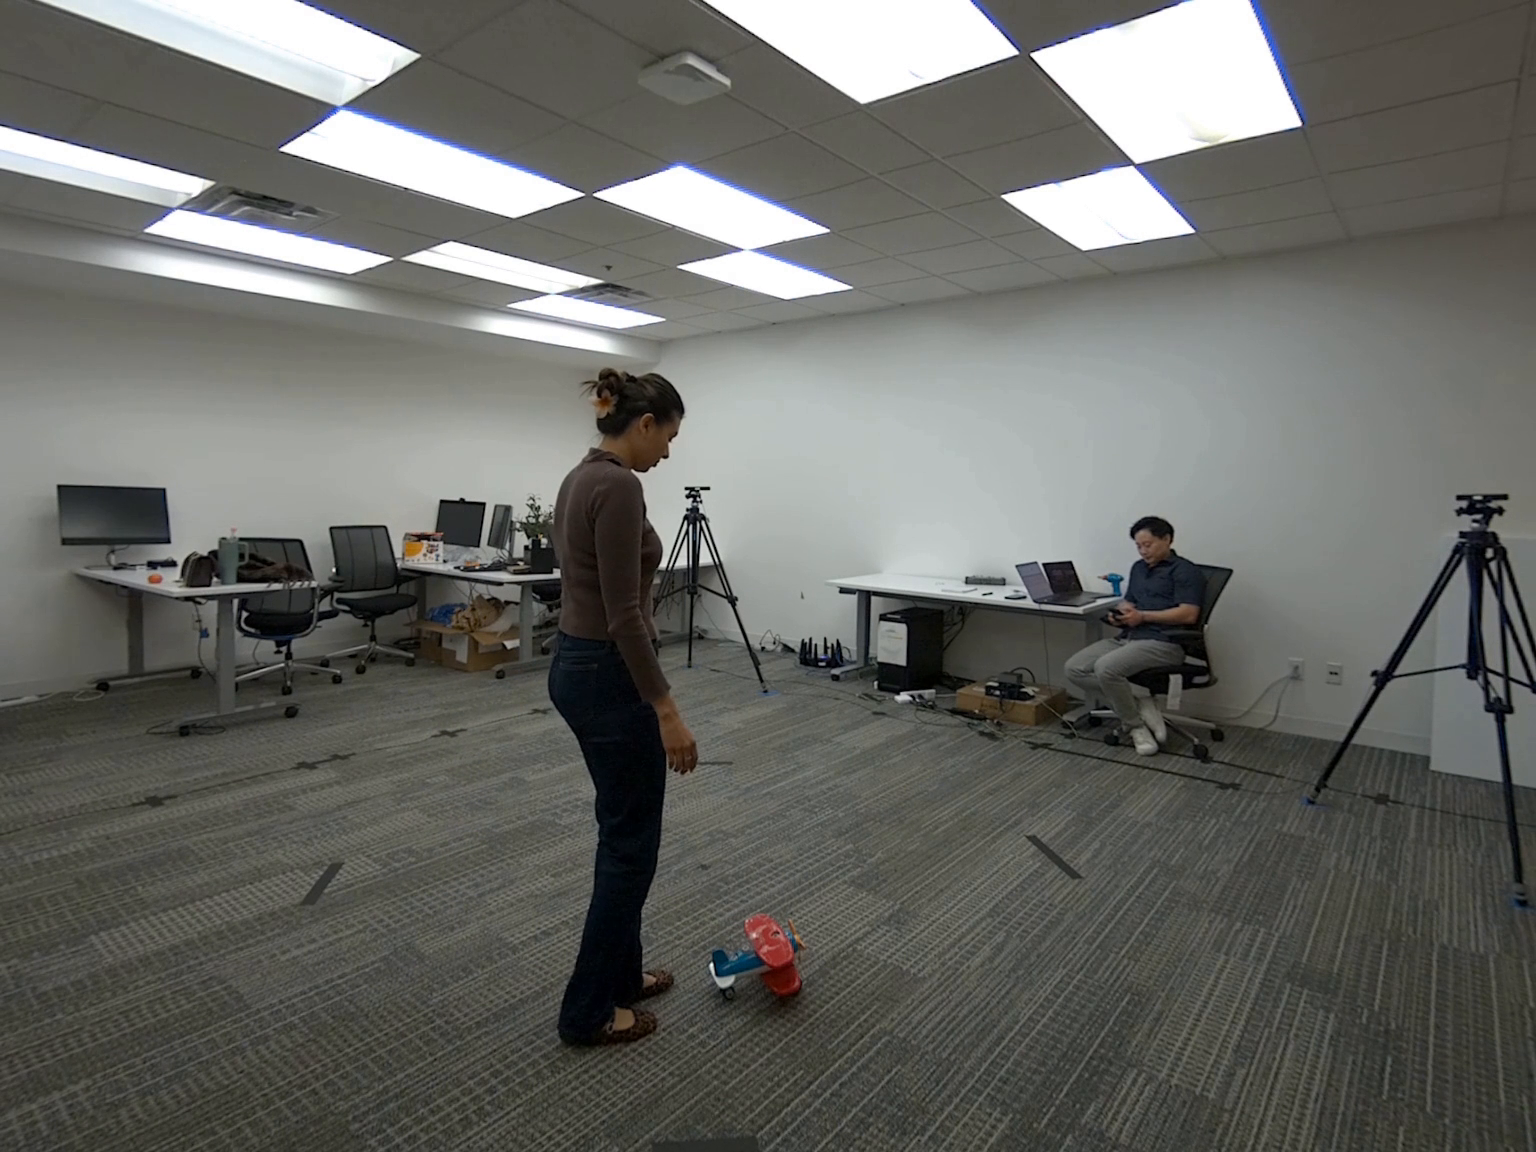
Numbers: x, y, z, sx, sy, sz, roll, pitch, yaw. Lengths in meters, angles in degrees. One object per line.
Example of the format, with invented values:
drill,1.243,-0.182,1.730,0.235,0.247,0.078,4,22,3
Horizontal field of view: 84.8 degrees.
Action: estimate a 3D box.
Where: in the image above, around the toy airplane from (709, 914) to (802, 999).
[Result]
toy airplane,-0.028,1.071,2.341,0.260,0.156,0.251,6,6,44
